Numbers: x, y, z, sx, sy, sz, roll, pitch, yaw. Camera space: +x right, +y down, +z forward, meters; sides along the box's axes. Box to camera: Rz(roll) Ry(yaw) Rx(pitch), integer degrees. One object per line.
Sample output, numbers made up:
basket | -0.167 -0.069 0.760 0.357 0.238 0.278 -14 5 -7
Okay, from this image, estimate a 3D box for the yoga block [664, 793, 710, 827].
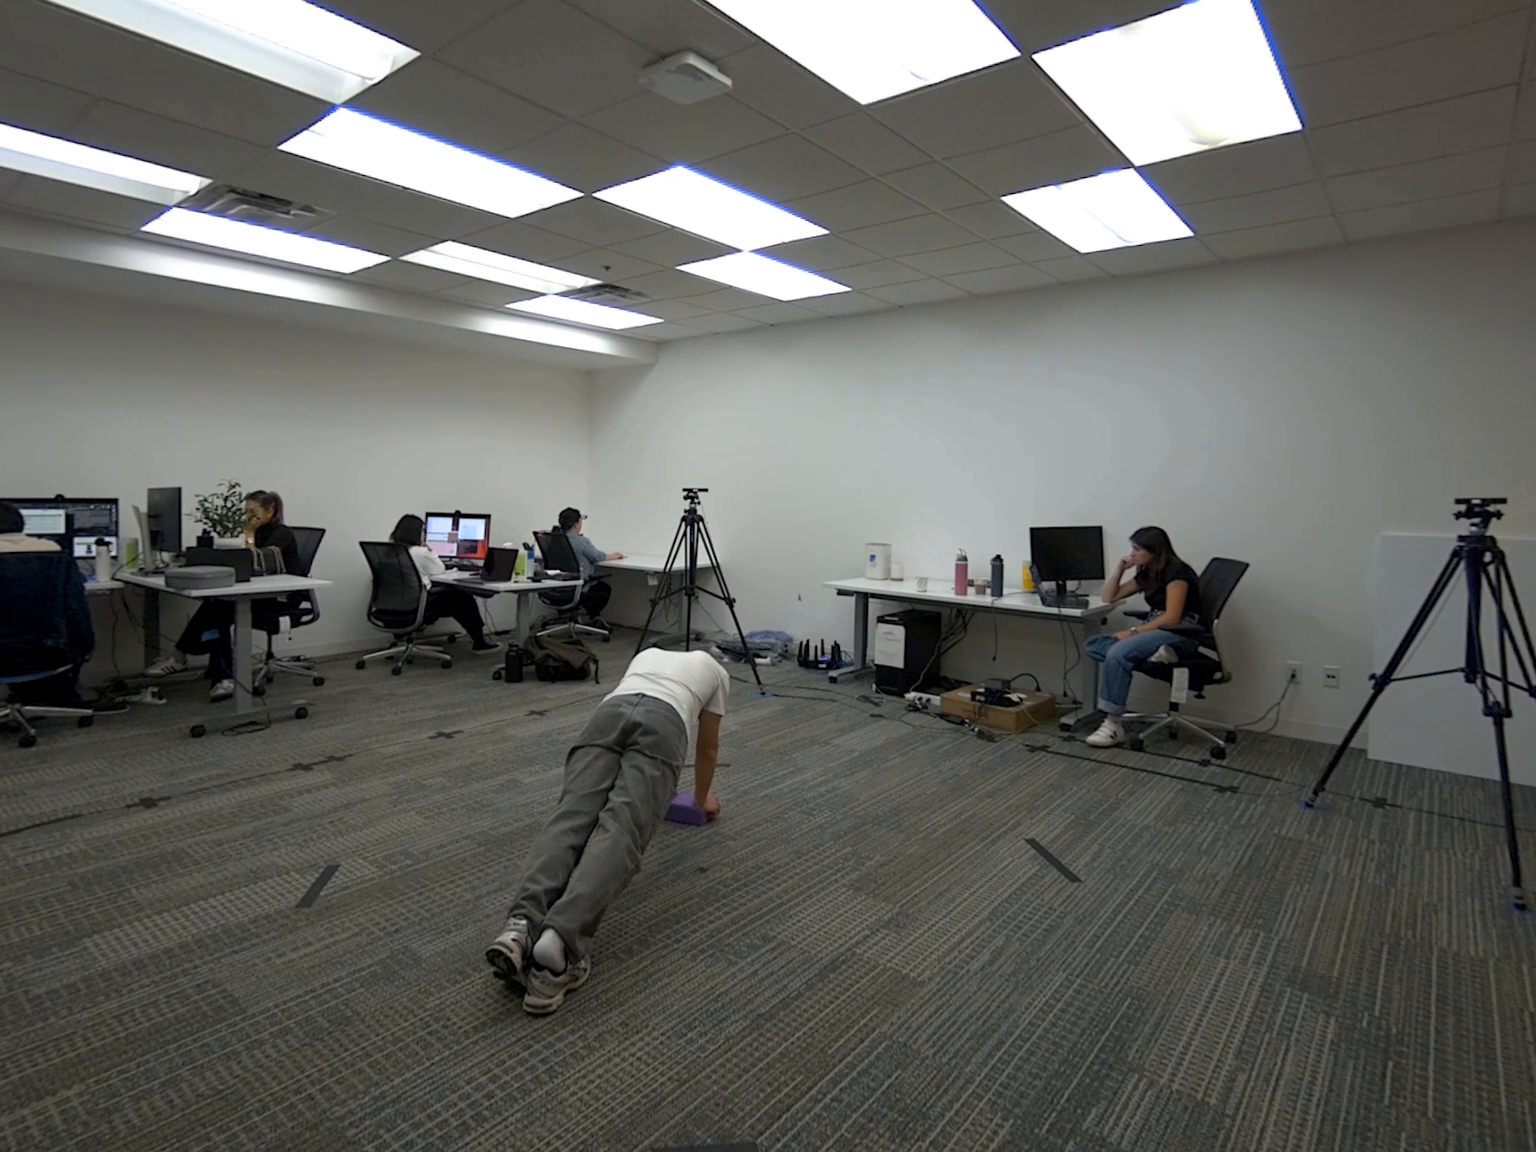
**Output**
yoga block | -0.352 0.980 3.614 0.235 0.076 0.146 2 4 22
